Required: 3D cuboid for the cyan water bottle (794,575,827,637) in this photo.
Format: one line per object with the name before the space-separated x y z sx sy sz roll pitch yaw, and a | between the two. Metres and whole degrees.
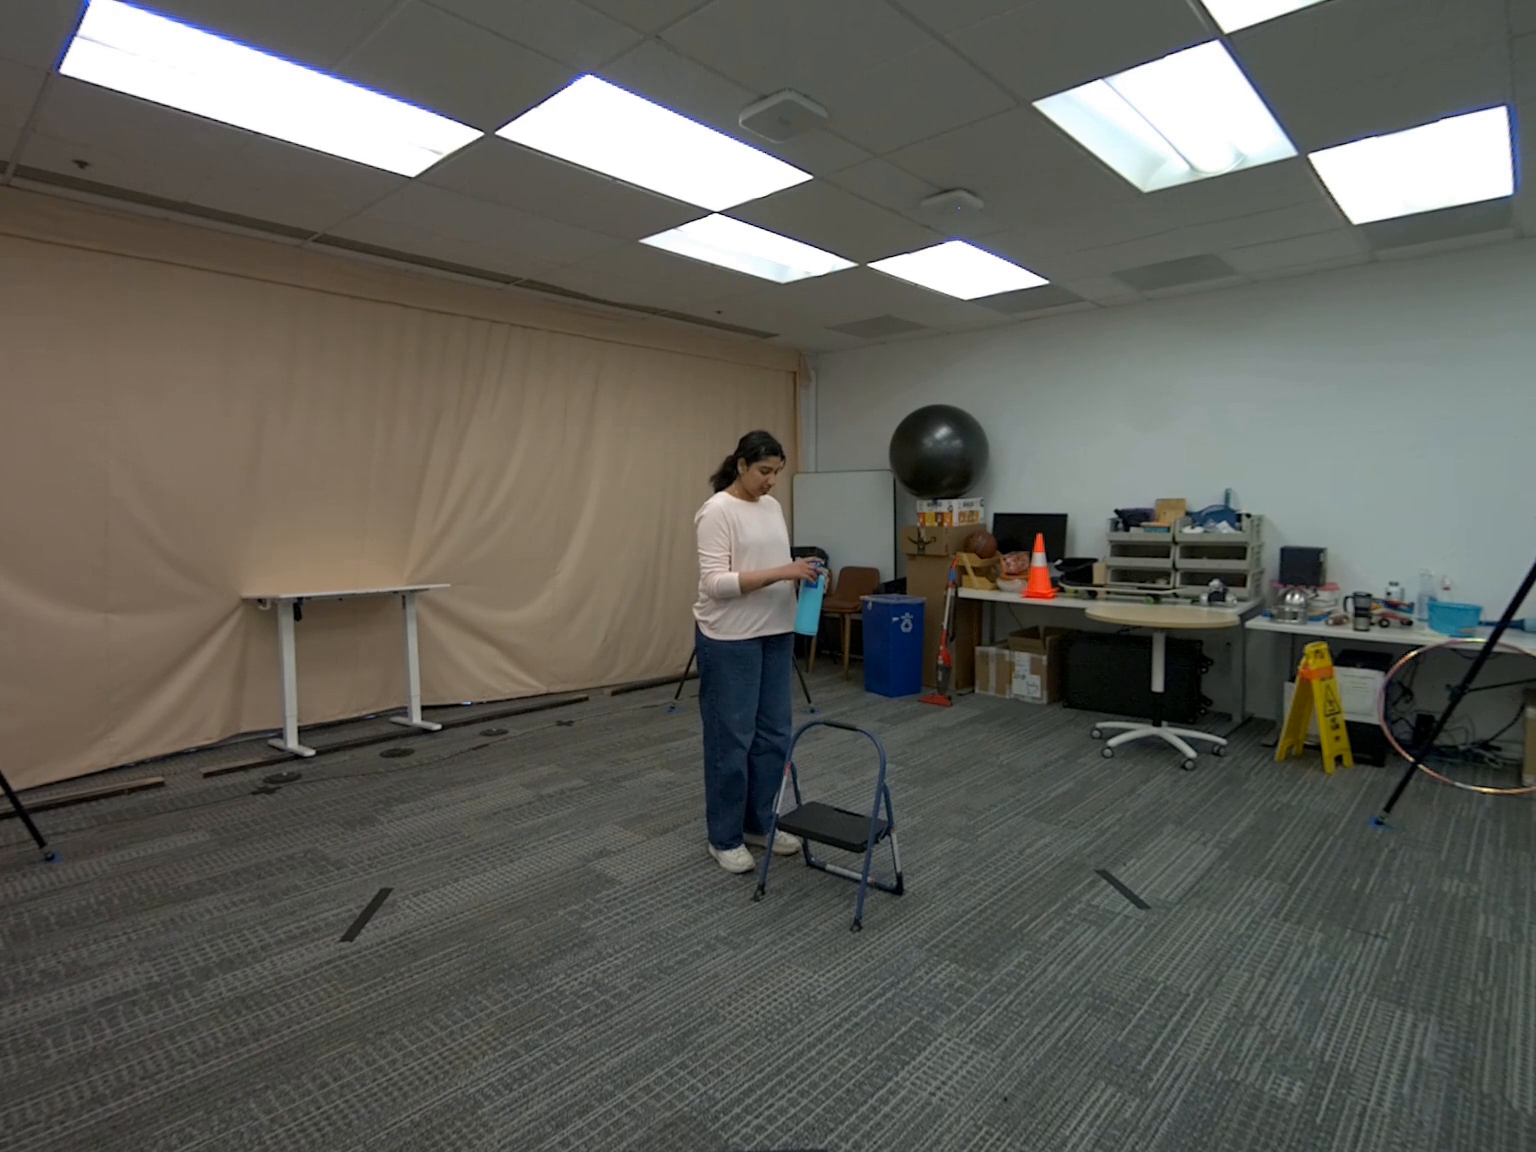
cyan water bottle | 0.152 0.074 3.157 0.092 0.283 0.093 9 4 -3
